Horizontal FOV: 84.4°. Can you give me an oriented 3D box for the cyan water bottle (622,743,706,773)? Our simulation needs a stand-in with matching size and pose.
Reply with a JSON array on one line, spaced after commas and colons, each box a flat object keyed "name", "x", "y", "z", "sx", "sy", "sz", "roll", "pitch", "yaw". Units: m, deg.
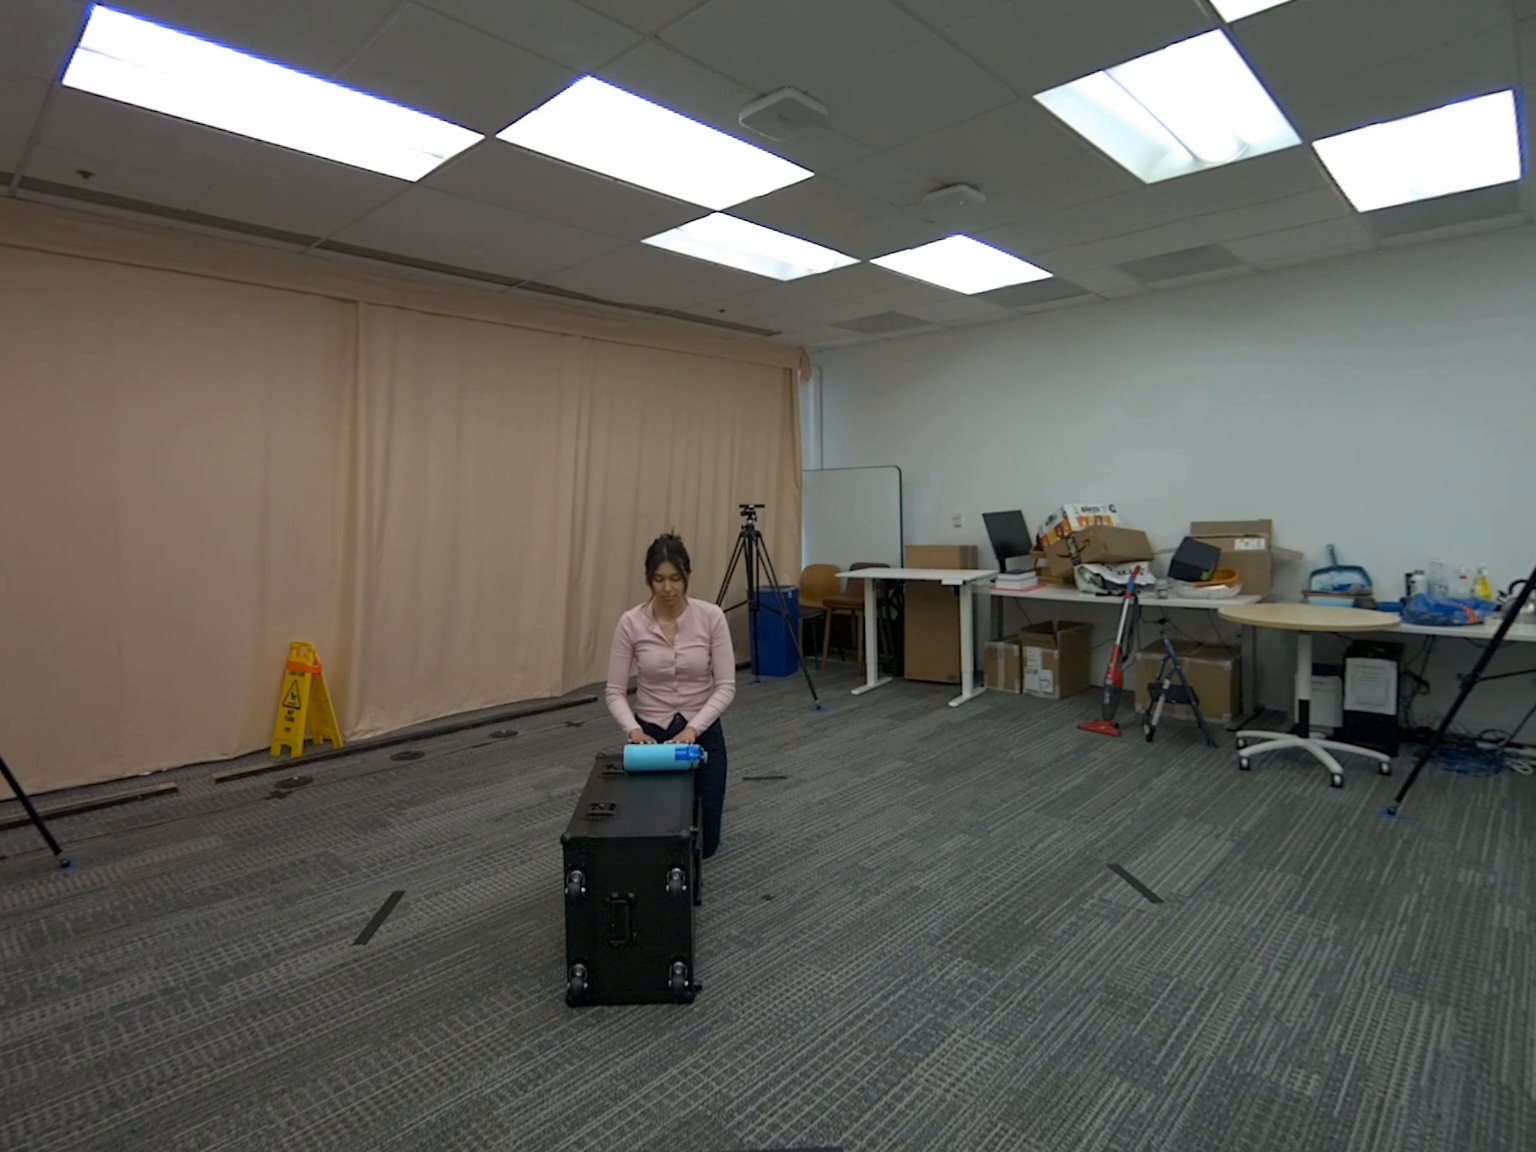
[{"name": "cyan water bottle", "x": -0.360, "y": 0.619, "z": 2.899, "sx": 0.284, "sy": 0.092, "sz": 0.092, "roll": -1, "pitch": 4, "yaw": 1}]
